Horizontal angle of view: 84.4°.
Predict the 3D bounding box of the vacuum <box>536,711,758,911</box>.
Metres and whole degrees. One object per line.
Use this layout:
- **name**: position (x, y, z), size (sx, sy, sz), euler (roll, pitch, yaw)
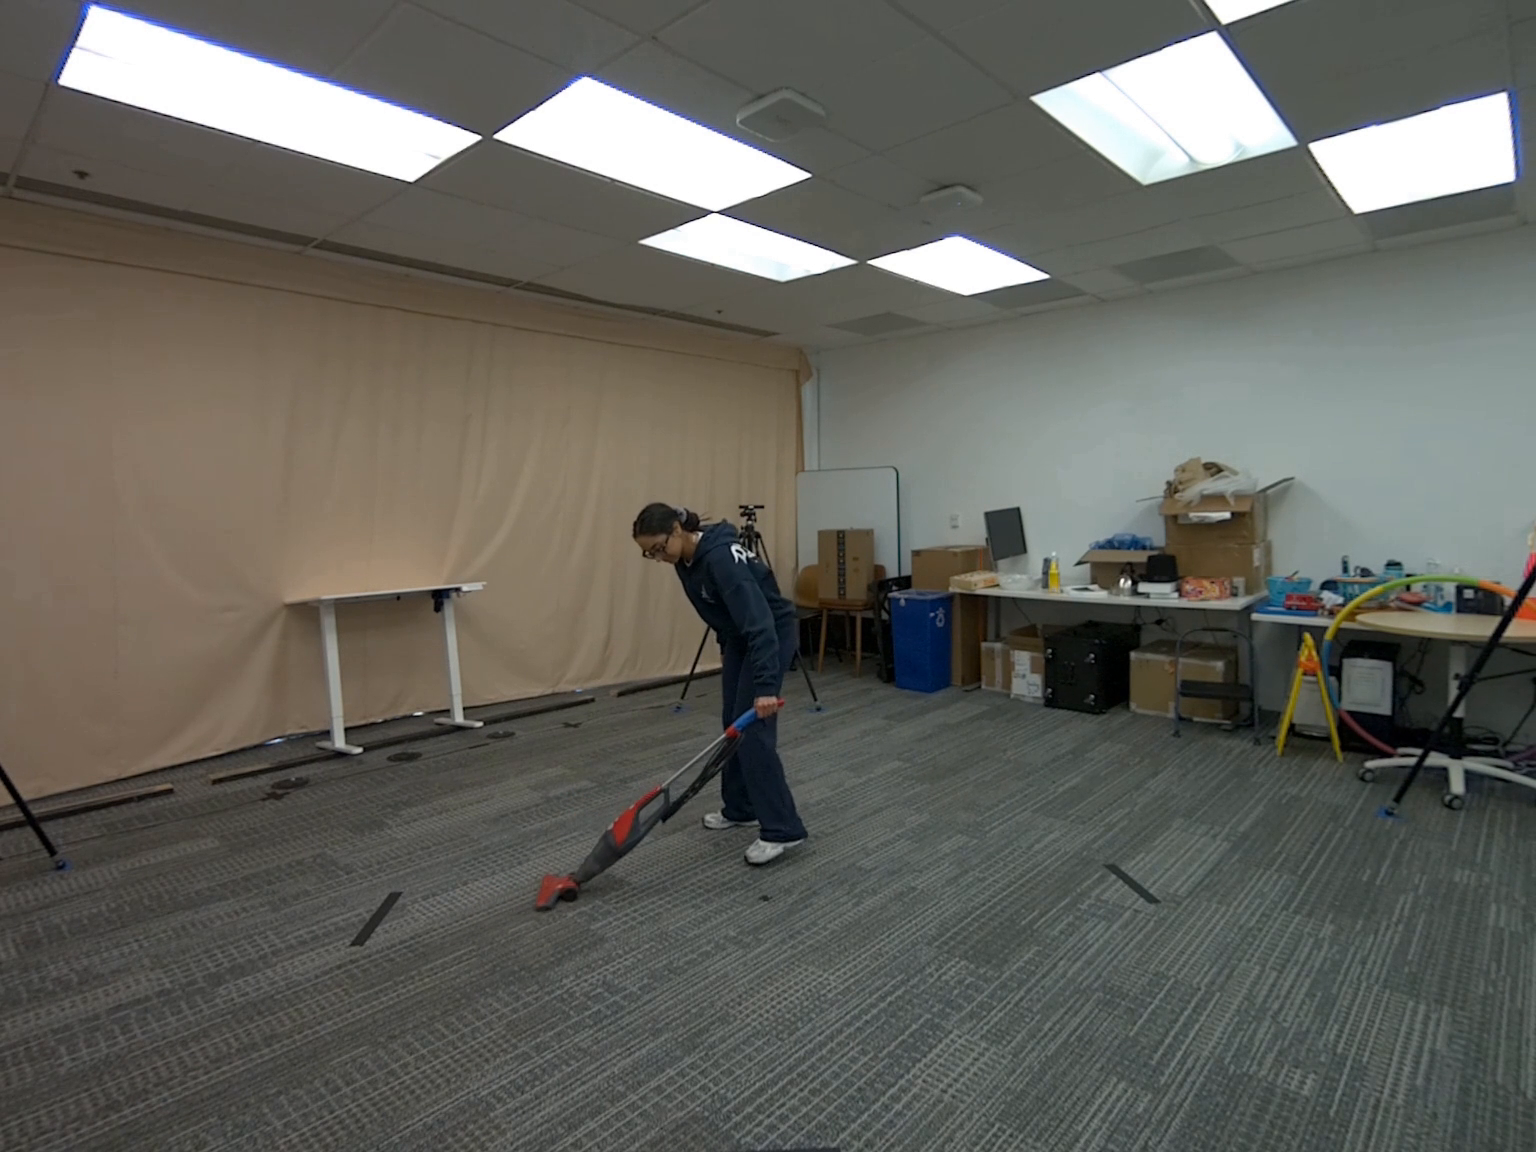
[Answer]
- **vacuum**: position (-0.359, 0.809, 3.066), size (1.048, 0.143, 0.254), euler (-40, 6, -2)
